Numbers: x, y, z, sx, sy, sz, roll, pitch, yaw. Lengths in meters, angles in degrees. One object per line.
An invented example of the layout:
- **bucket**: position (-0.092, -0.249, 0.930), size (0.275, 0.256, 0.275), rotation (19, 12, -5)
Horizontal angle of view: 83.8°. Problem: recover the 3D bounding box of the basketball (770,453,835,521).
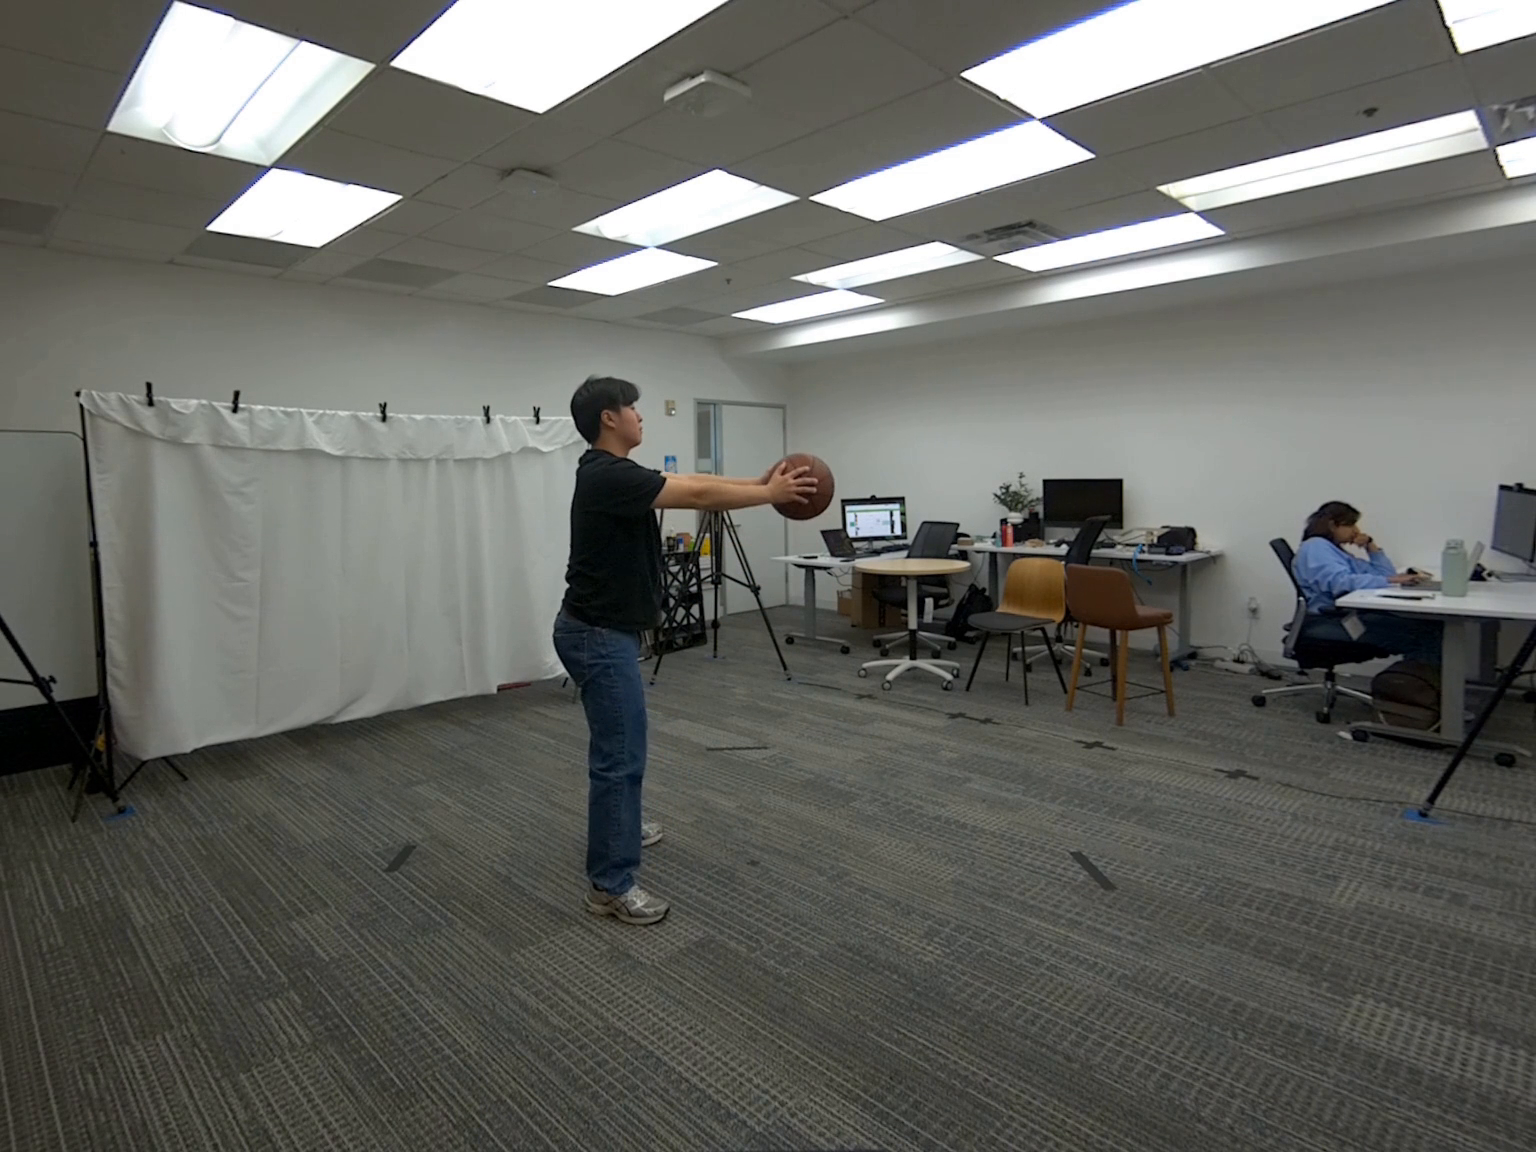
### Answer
- **basketball**: position (0.115, -0.307, 3.001), size (0.236, 0.235, 0.237), rotation (-1, 5, -2)
